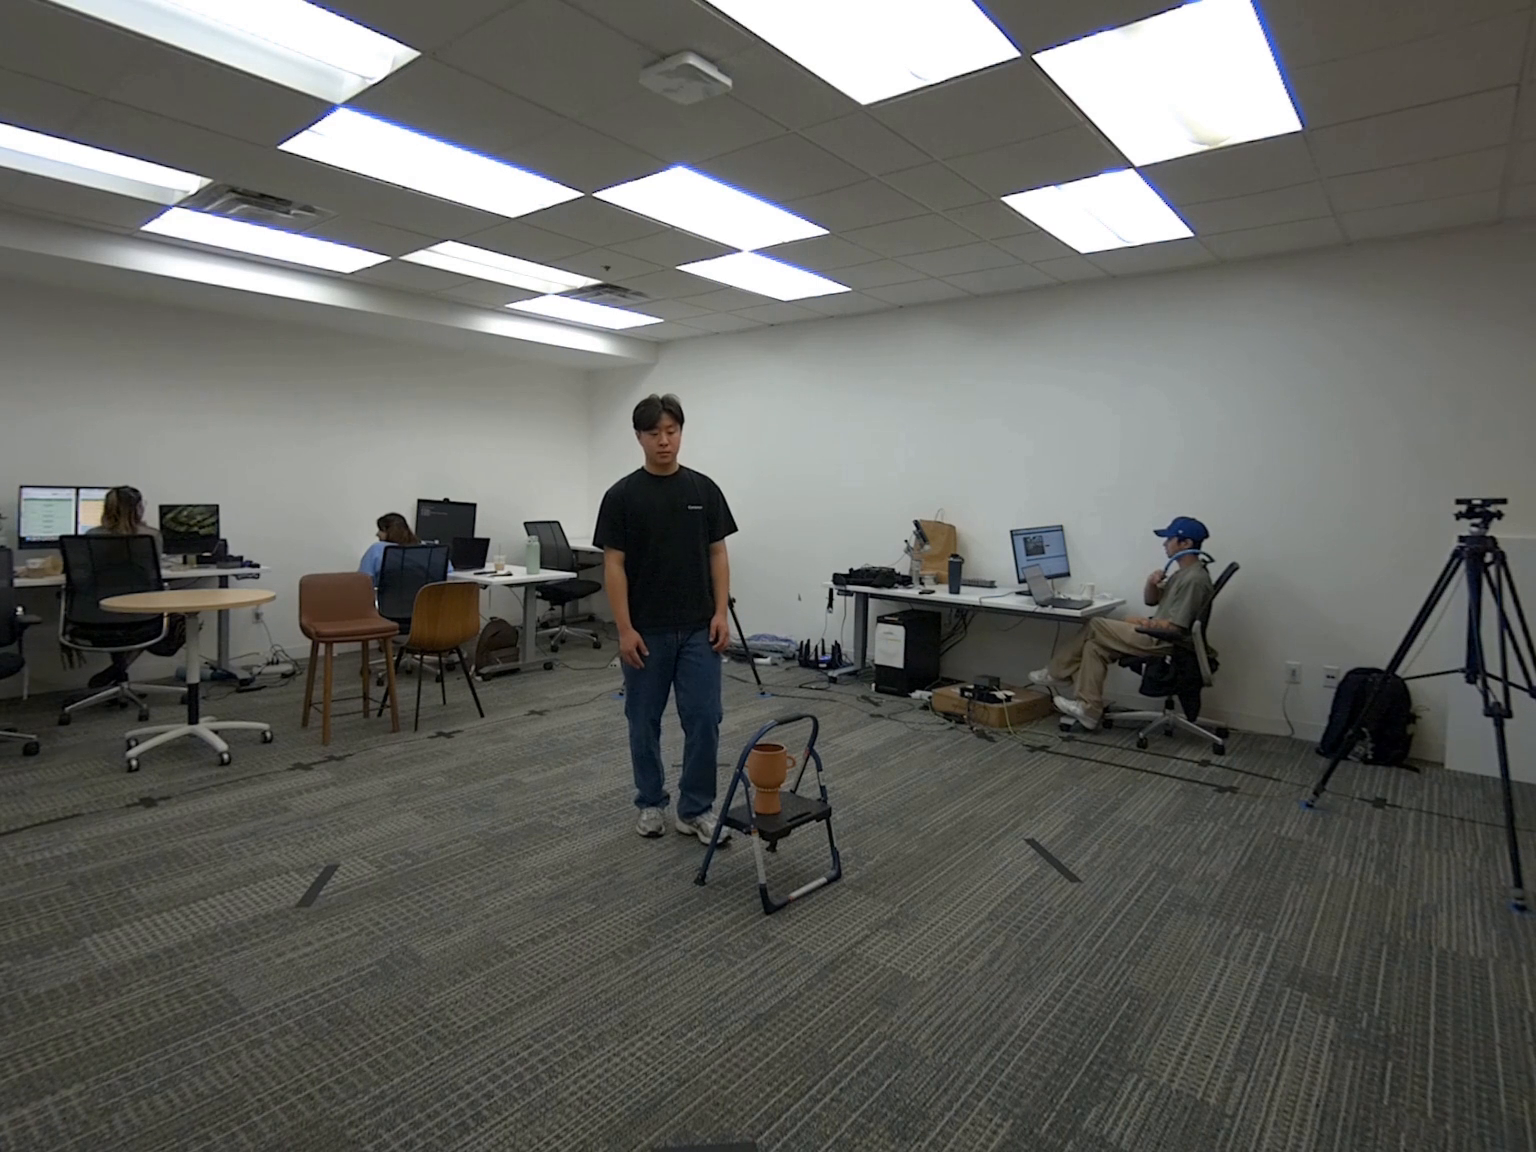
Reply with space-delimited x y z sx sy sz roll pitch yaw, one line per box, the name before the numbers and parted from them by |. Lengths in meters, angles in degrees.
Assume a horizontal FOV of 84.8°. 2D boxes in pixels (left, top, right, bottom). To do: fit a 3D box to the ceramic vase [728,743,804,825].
ceramic vase | -0.007 0.712 3.000 0.164 0.219 0.130 2 3 40
